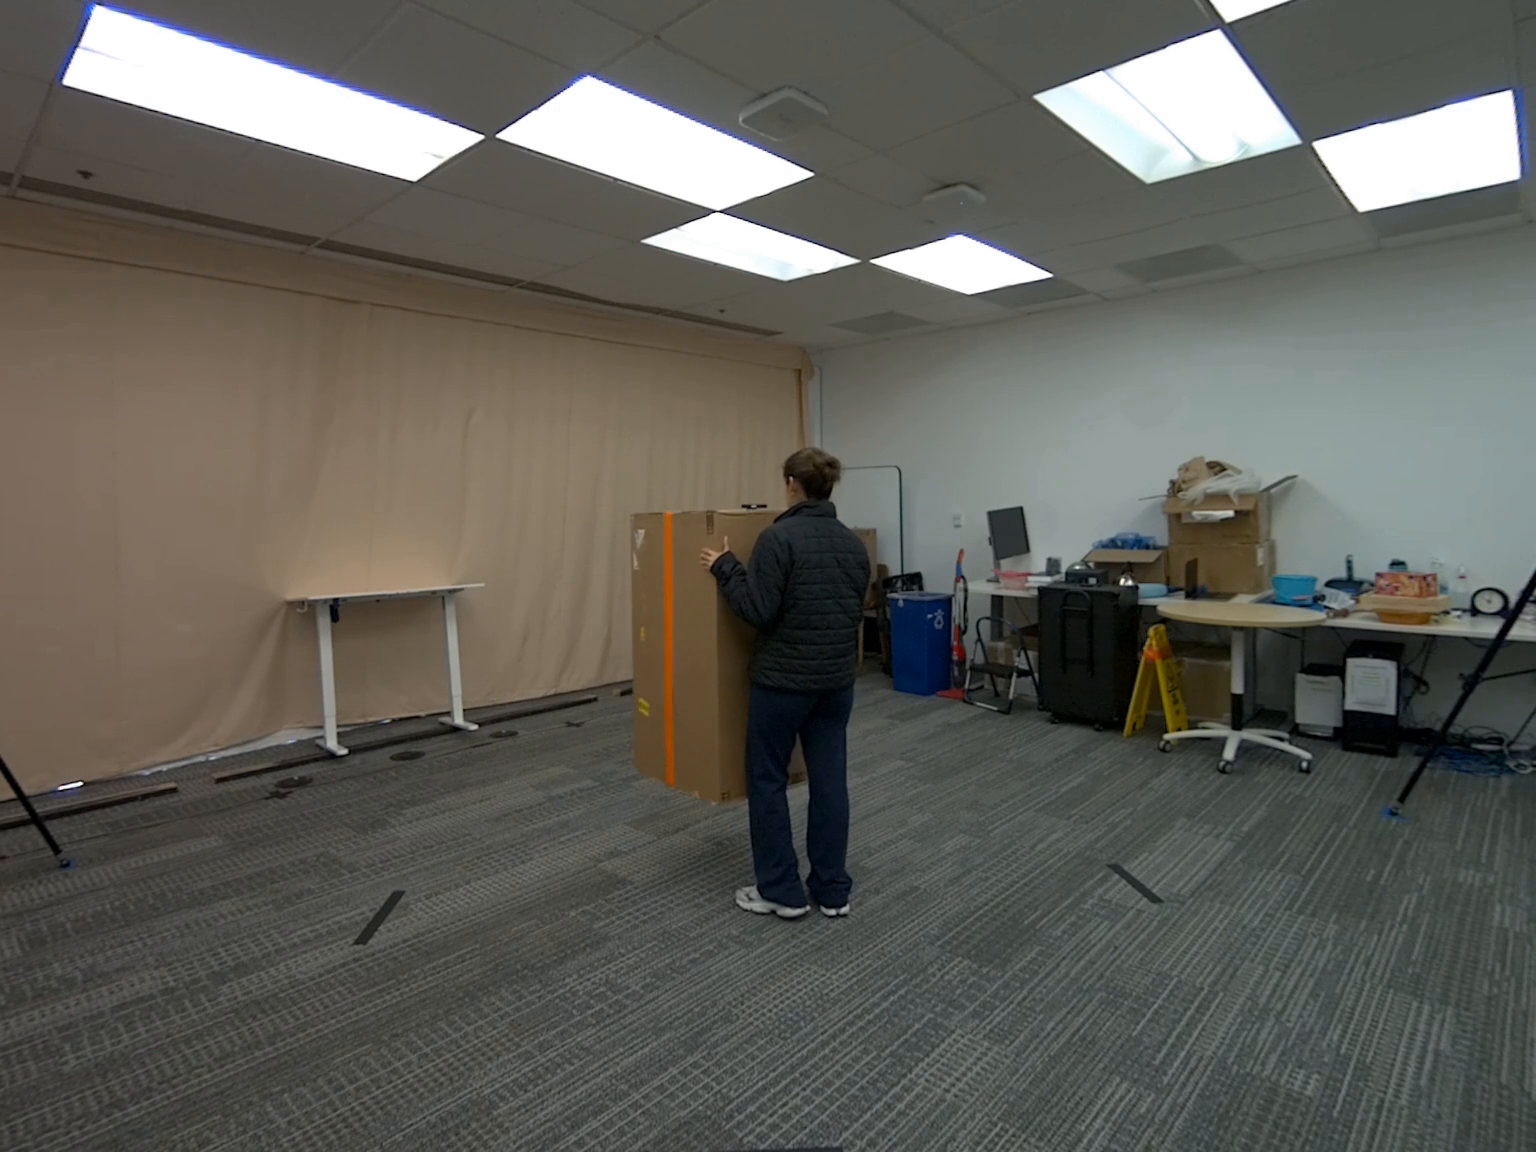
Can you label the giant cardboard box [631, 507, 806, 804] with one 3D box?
[{"bbox_3d":[-0.181,0.269,3.235,0.413,1.025,0.595,-1,2,-37],"label":"giant cardboard box"}]
